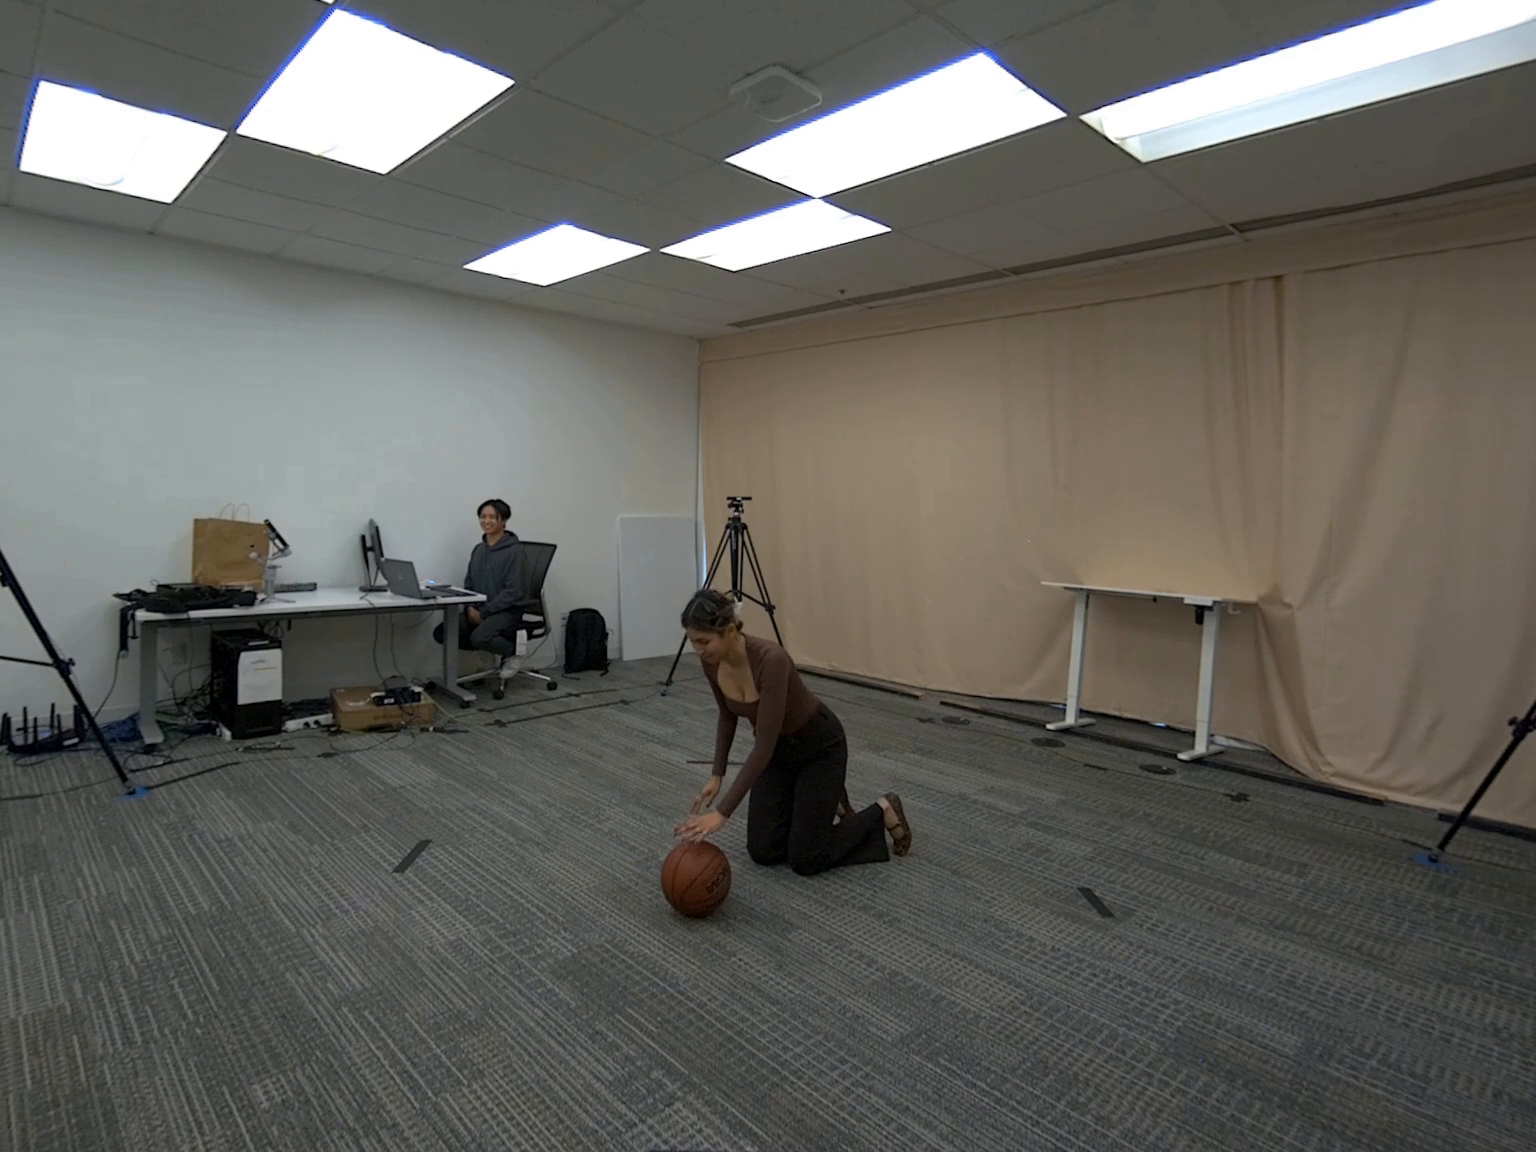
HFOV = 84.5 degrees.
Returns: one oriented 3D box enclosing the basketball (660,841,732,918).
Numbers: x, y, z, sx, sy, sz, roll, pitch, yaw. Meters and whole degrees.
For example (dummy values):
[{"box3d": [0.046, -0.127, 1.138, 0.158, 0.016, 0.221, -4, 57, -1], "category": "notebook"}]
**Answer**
[{"box3d": [-0.244, 1.013, 2.812, 0.236, 0.235, 0.237, 1, 4, -1], "category": "basketball"}]
